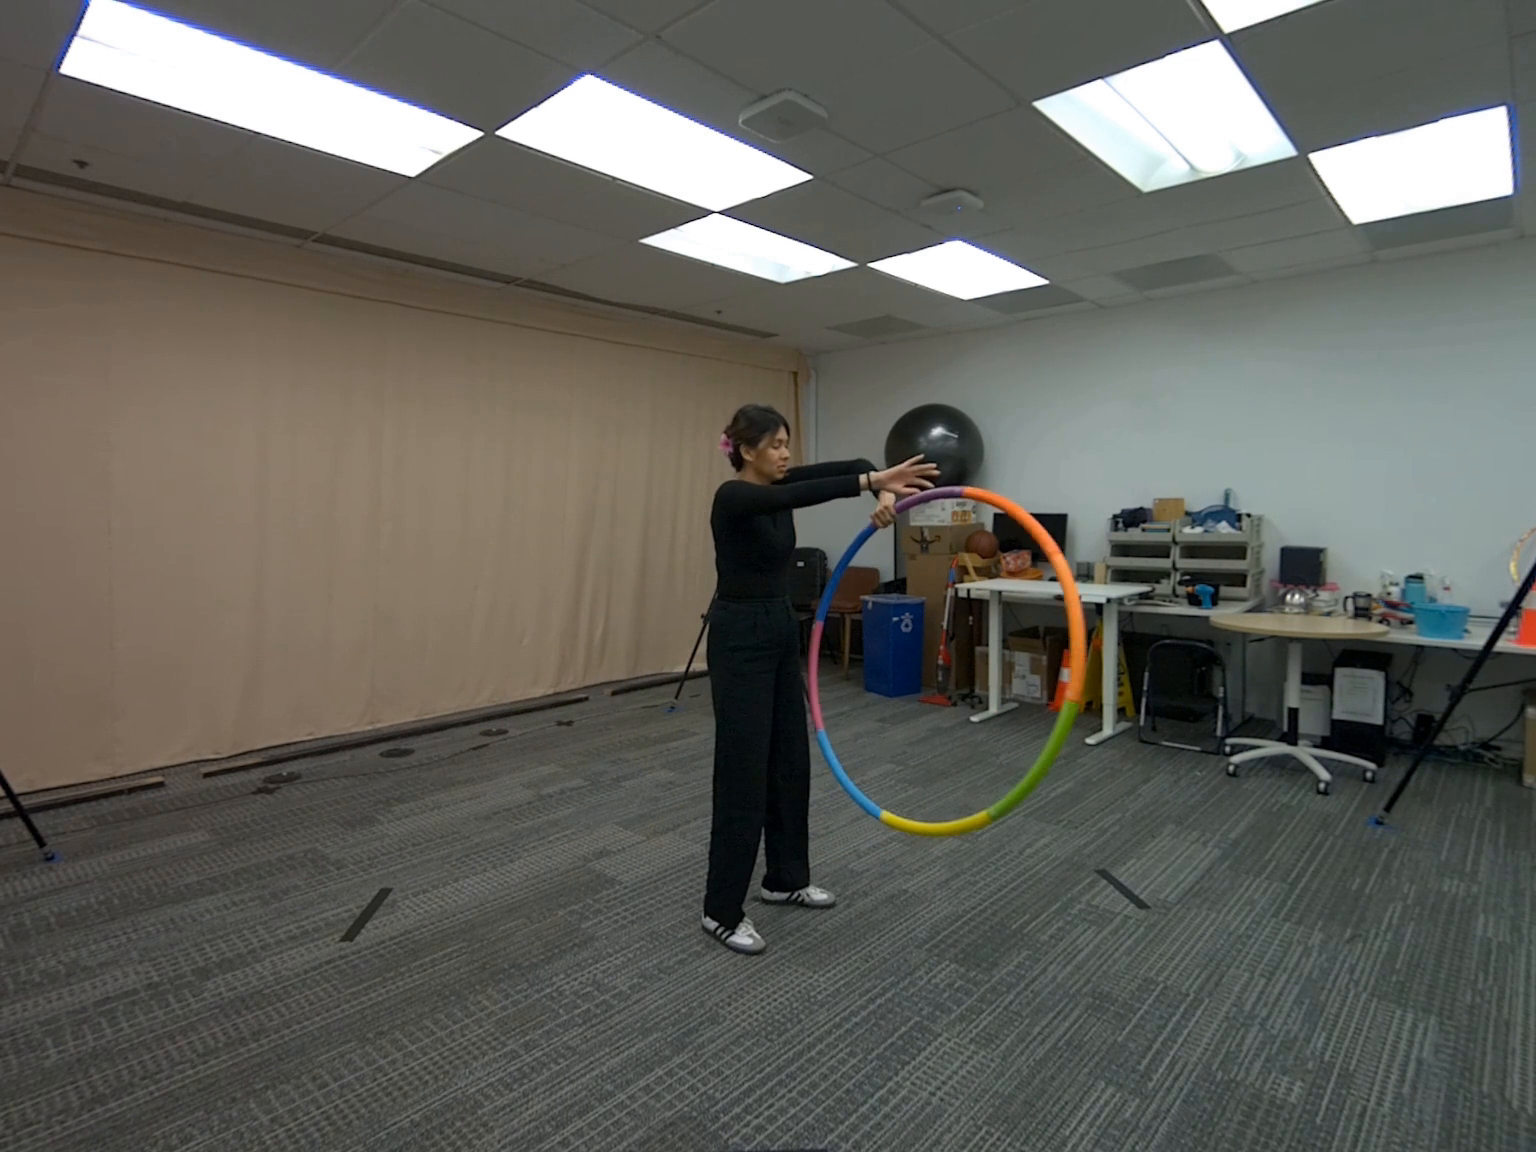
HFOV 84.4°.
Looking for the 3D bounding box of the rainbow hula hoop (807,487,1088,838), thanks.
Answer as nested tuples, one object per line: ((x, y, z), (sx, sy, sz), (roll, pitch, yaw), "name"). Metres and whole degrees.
((0.454, 0.223, 2.433), (0.050, 0.987, 1.016), (15, -6, -35), "rainbow hula hoop")
